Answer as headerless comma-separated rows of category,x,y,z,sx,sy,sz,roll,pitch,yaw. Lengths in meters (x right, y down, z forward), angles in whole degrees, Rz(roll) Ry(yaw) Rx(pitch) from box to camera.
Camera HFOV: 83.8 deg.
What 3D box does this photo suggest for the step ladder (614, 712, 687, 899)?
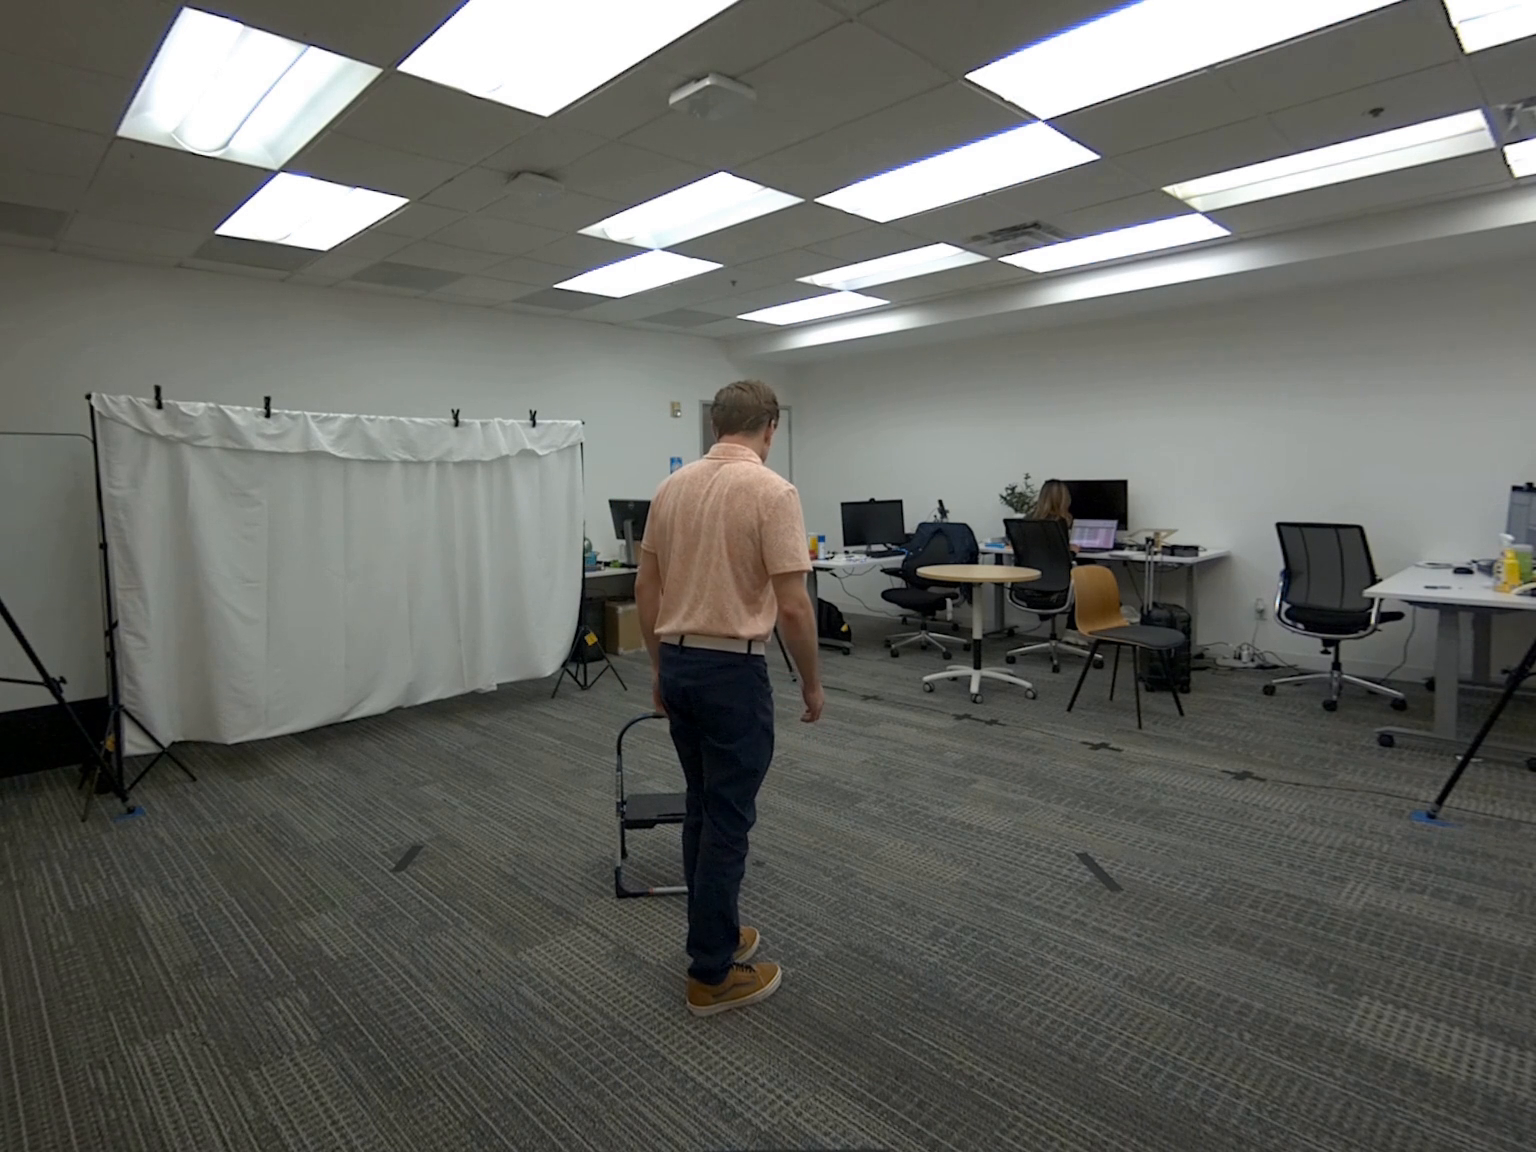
step ladder,-0.331,0.764,3.021,0.429,0.604,0.352,-2,3,-5
